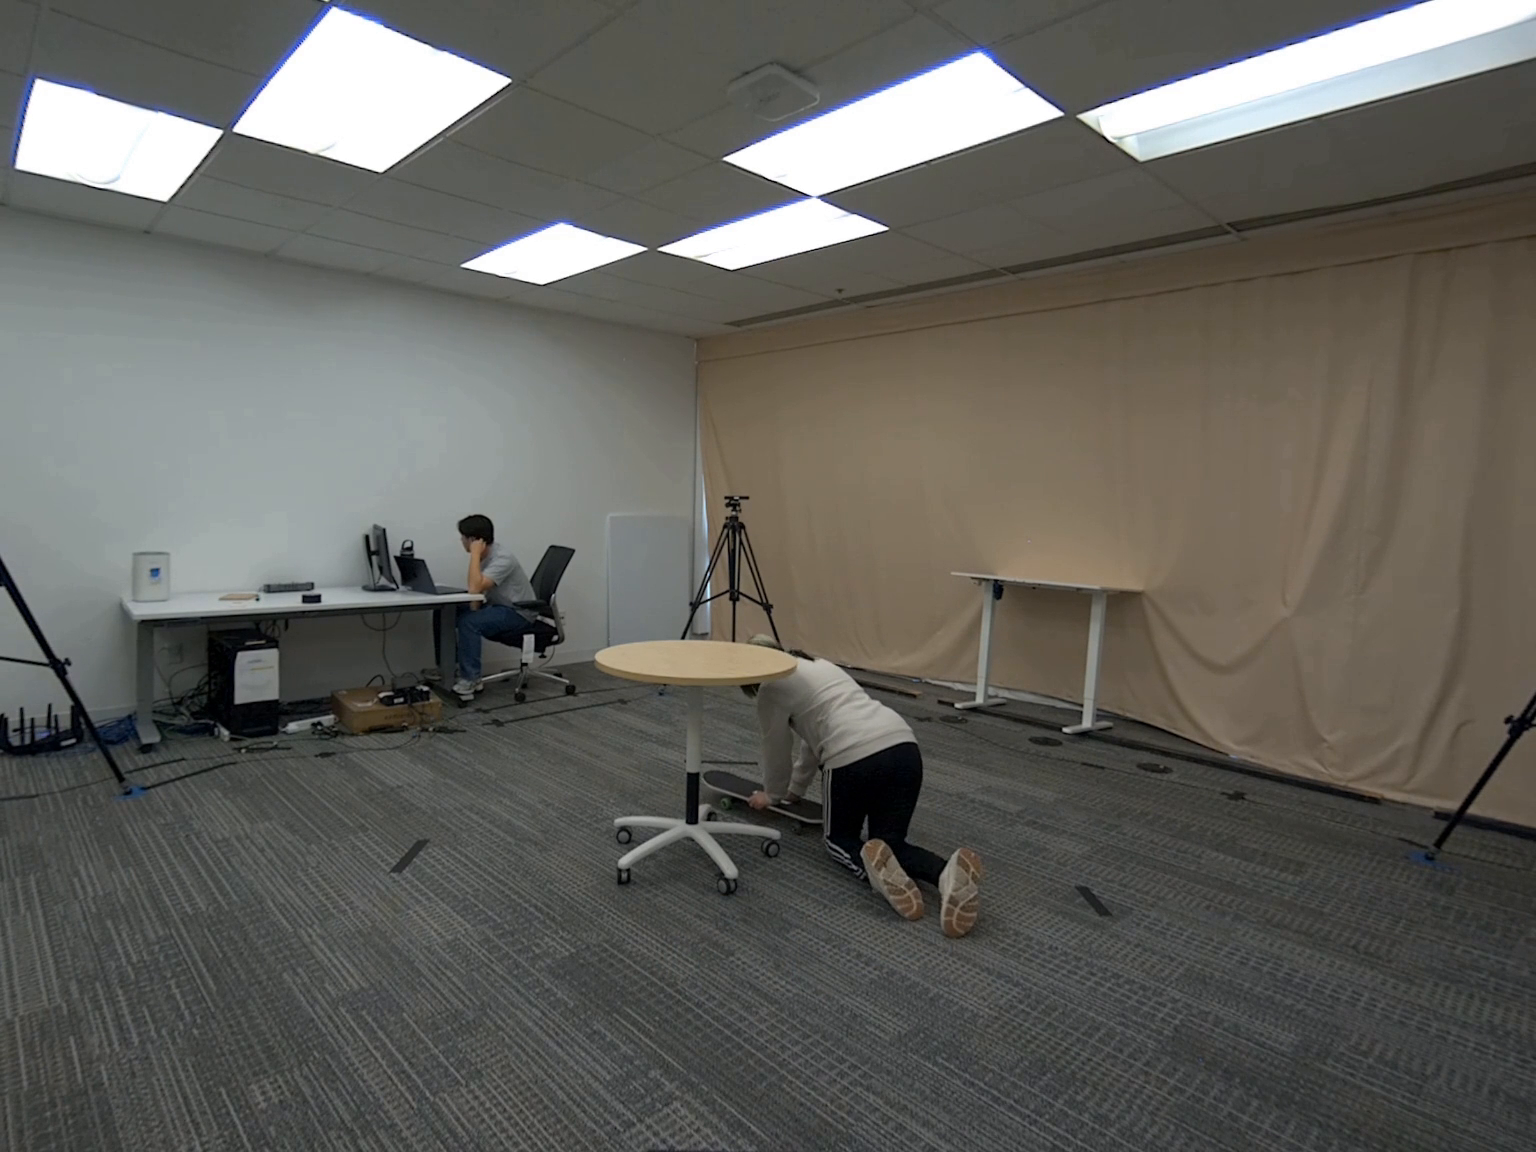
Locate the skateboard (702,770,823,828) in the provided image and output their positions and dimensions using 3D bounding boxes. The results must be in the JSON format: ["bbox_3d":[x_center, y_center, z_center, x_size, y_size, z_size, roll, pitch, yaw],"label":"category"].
[{"bbox_3d":[0.001,1.005,3.698,0.806,0.110,0.189,7,6,41],"label":"skateboard"}]
